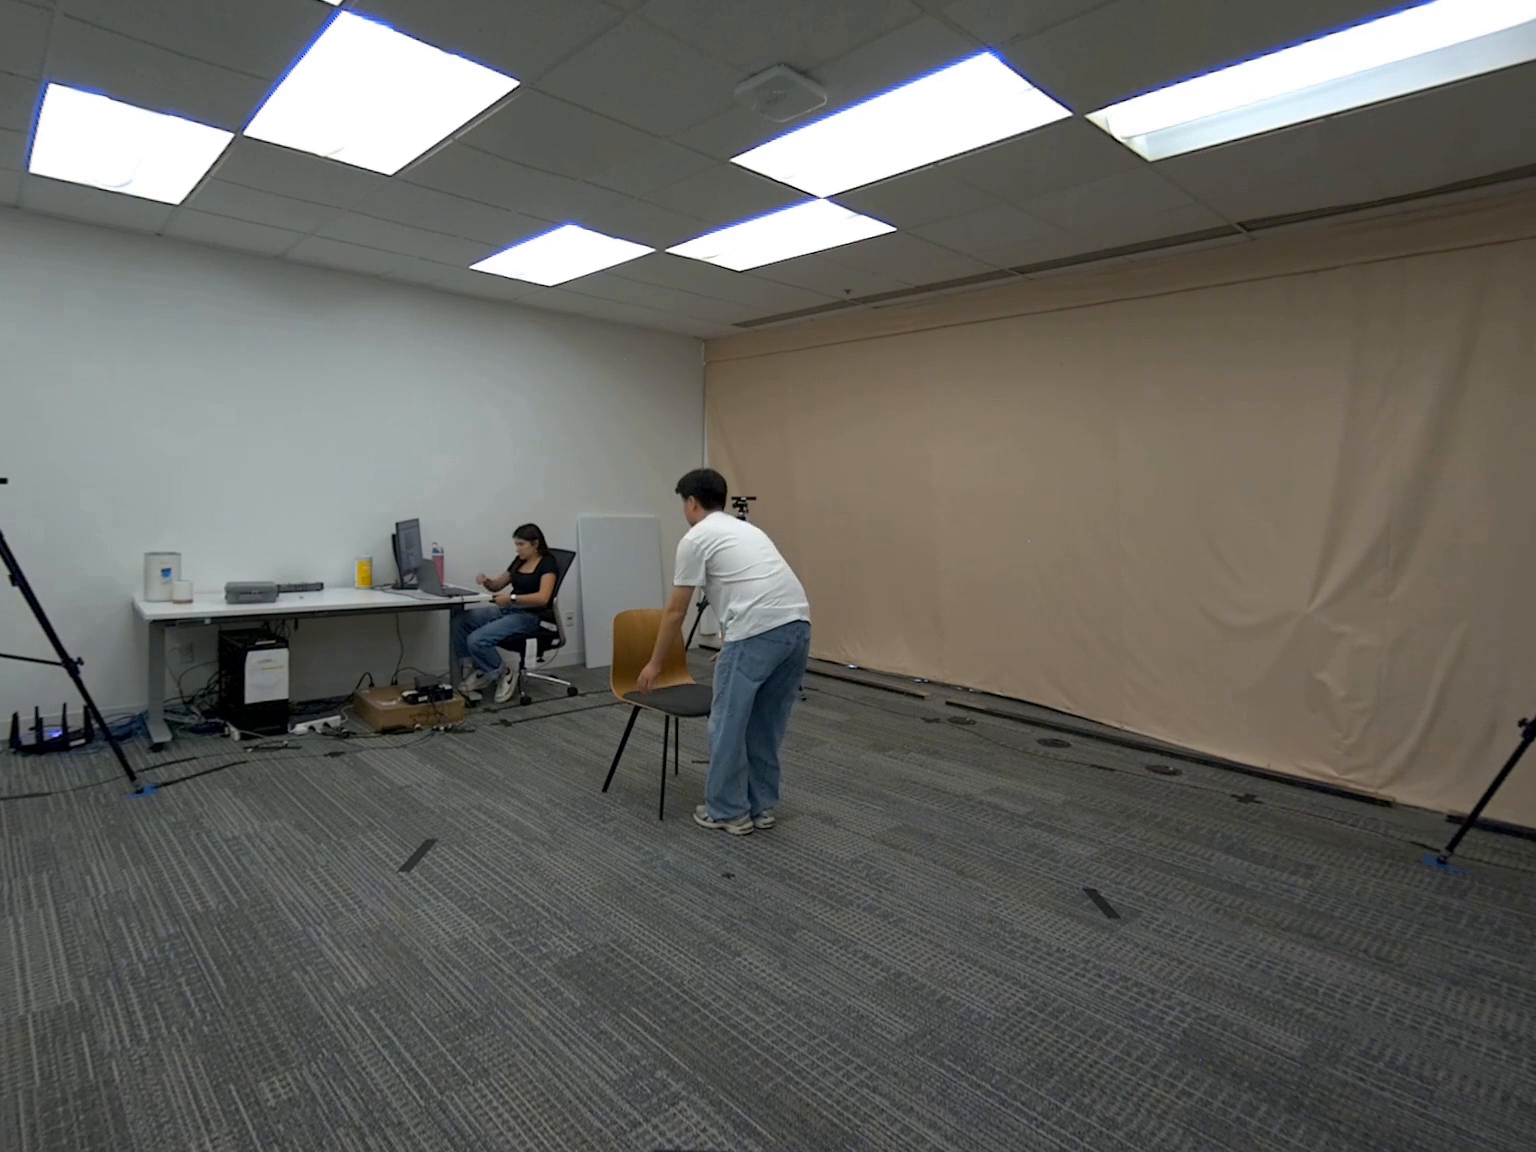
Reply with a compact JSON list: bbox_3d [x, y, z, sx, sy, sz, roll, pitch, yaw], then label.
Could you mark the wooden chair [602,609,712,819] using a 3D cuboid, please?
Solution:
[{"bbox_3d":[-0.441,0.596,3.894,0.467,0.878,0.535,-1,0,-43],"label":"wooden chair"}]
